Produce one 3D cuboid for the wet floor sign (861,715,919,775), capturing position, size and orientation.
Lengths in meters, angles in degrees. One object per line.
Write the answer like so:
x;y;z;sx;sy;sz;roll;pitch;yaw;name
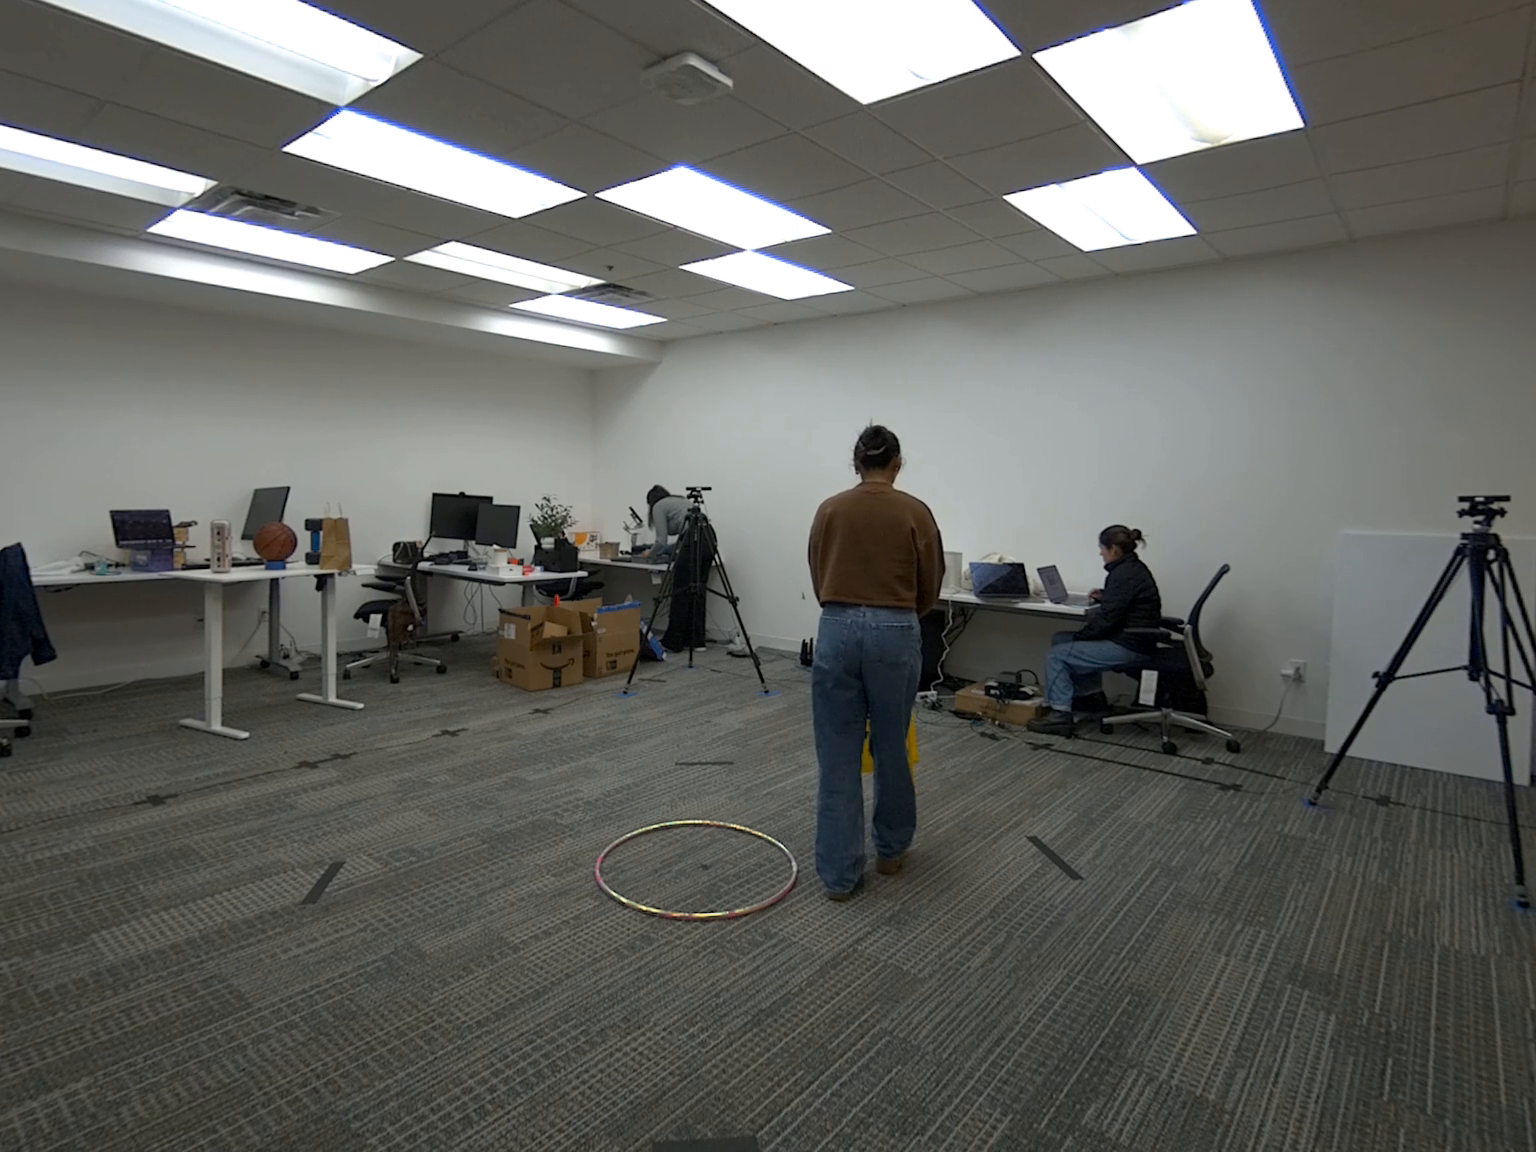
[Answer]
0.416;0.479;3.332;0.287;0.639;0.288;0;11;14;wet floor sign
